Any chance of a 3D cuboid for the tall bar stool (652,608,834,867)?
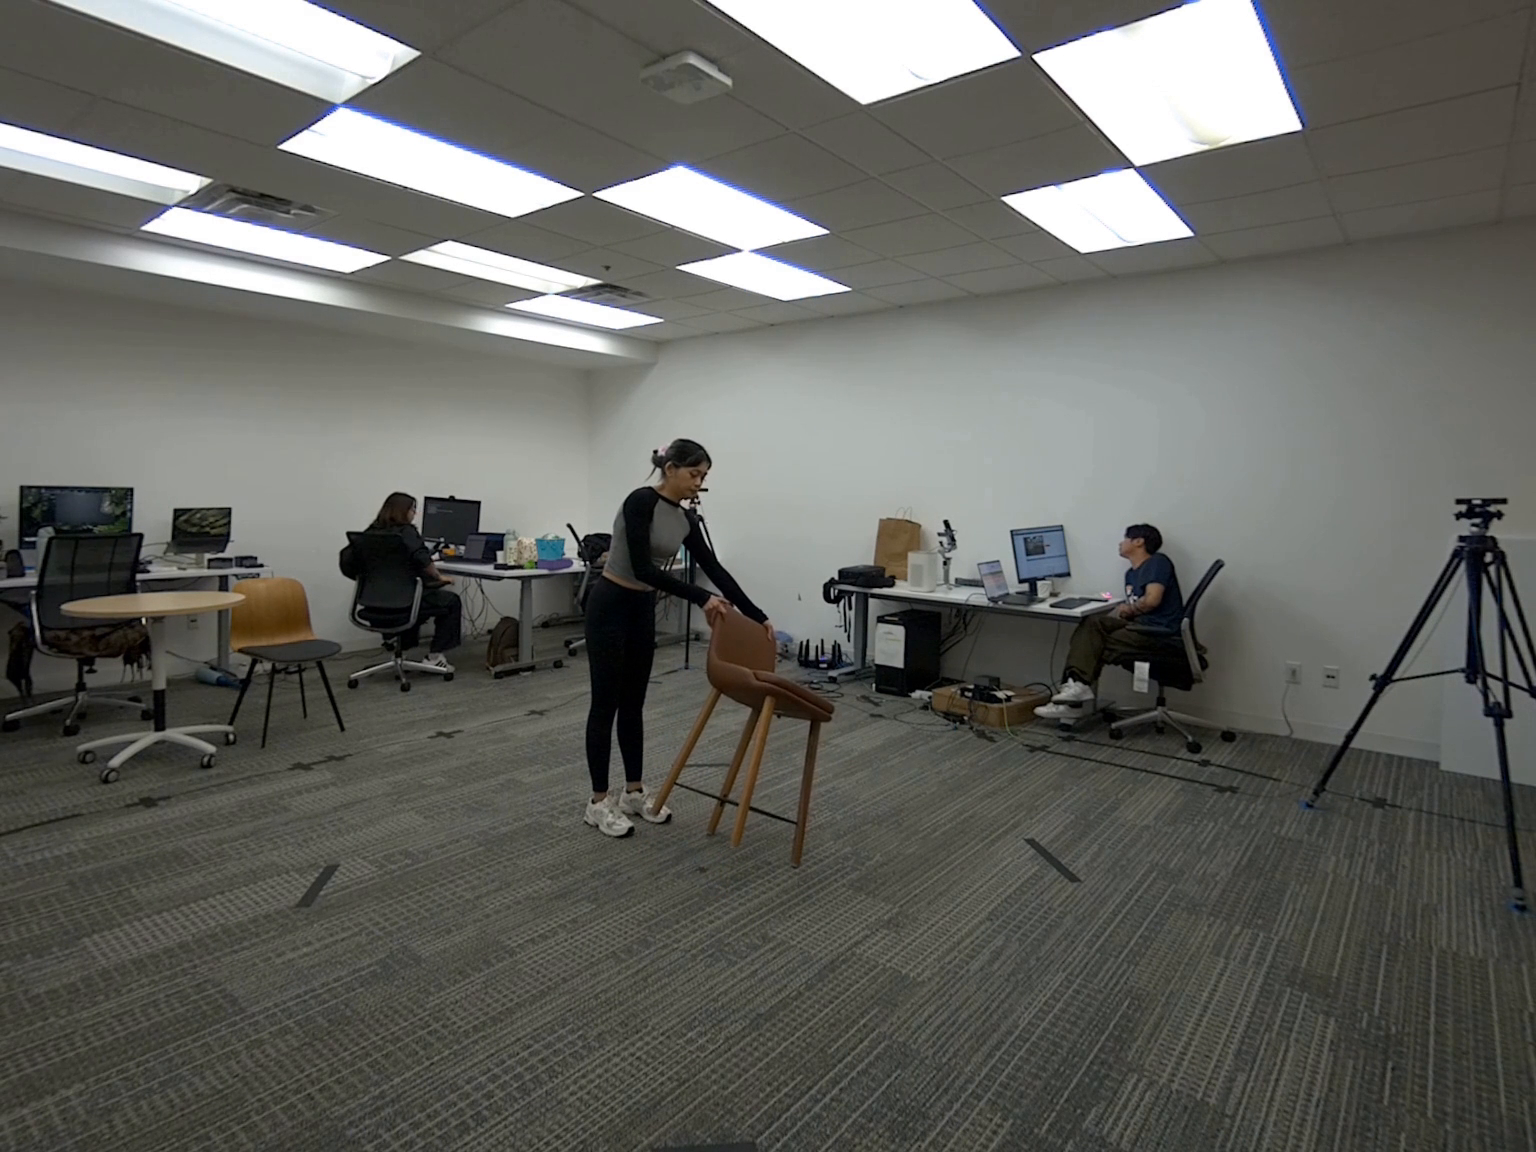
[{"bbox_3d":[-0.057,0.580,3.301,0.482,0.900,0.437,0,-24,40],"label":"tall bar stool"}]
